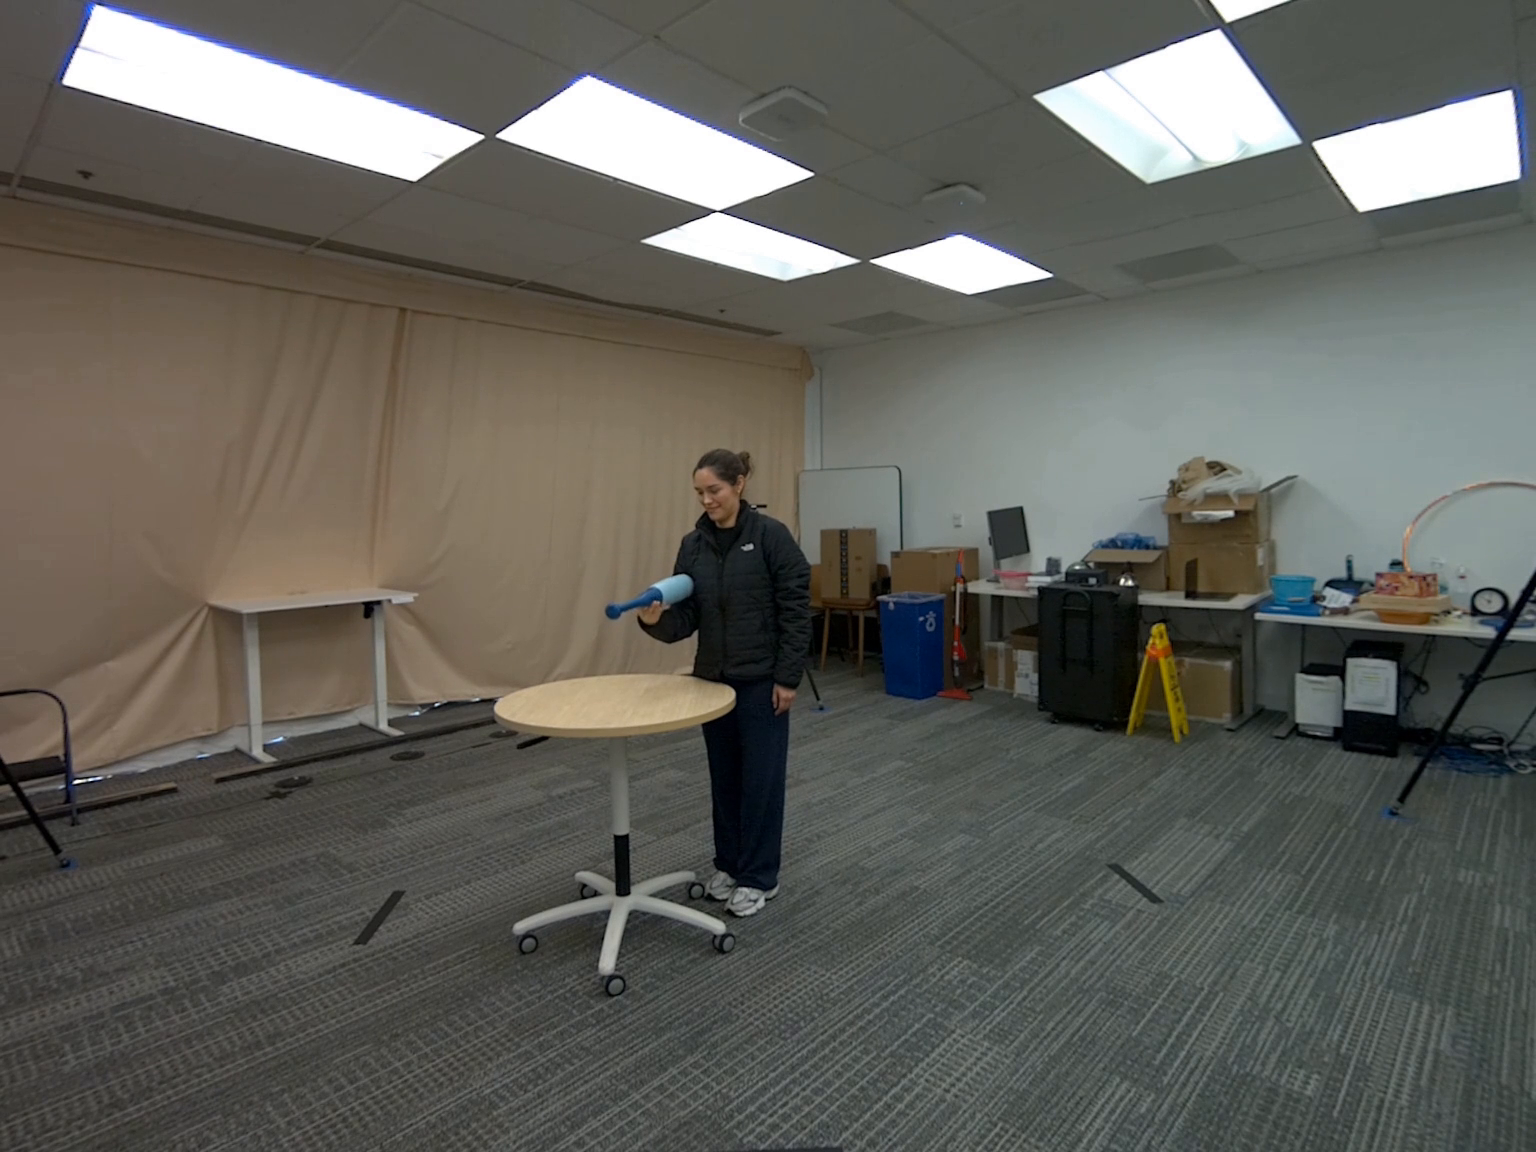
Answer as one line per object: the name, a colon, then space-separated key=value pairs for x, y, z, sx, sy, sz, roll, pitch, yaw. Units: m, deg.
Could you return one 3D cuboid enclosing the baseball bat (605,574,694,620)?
baseball bat: x=-0.377 y=0.074 z=2.740 sx=0.091 sy=0.088 sz=0.535 roll=0 pitch=10 yaw=18
